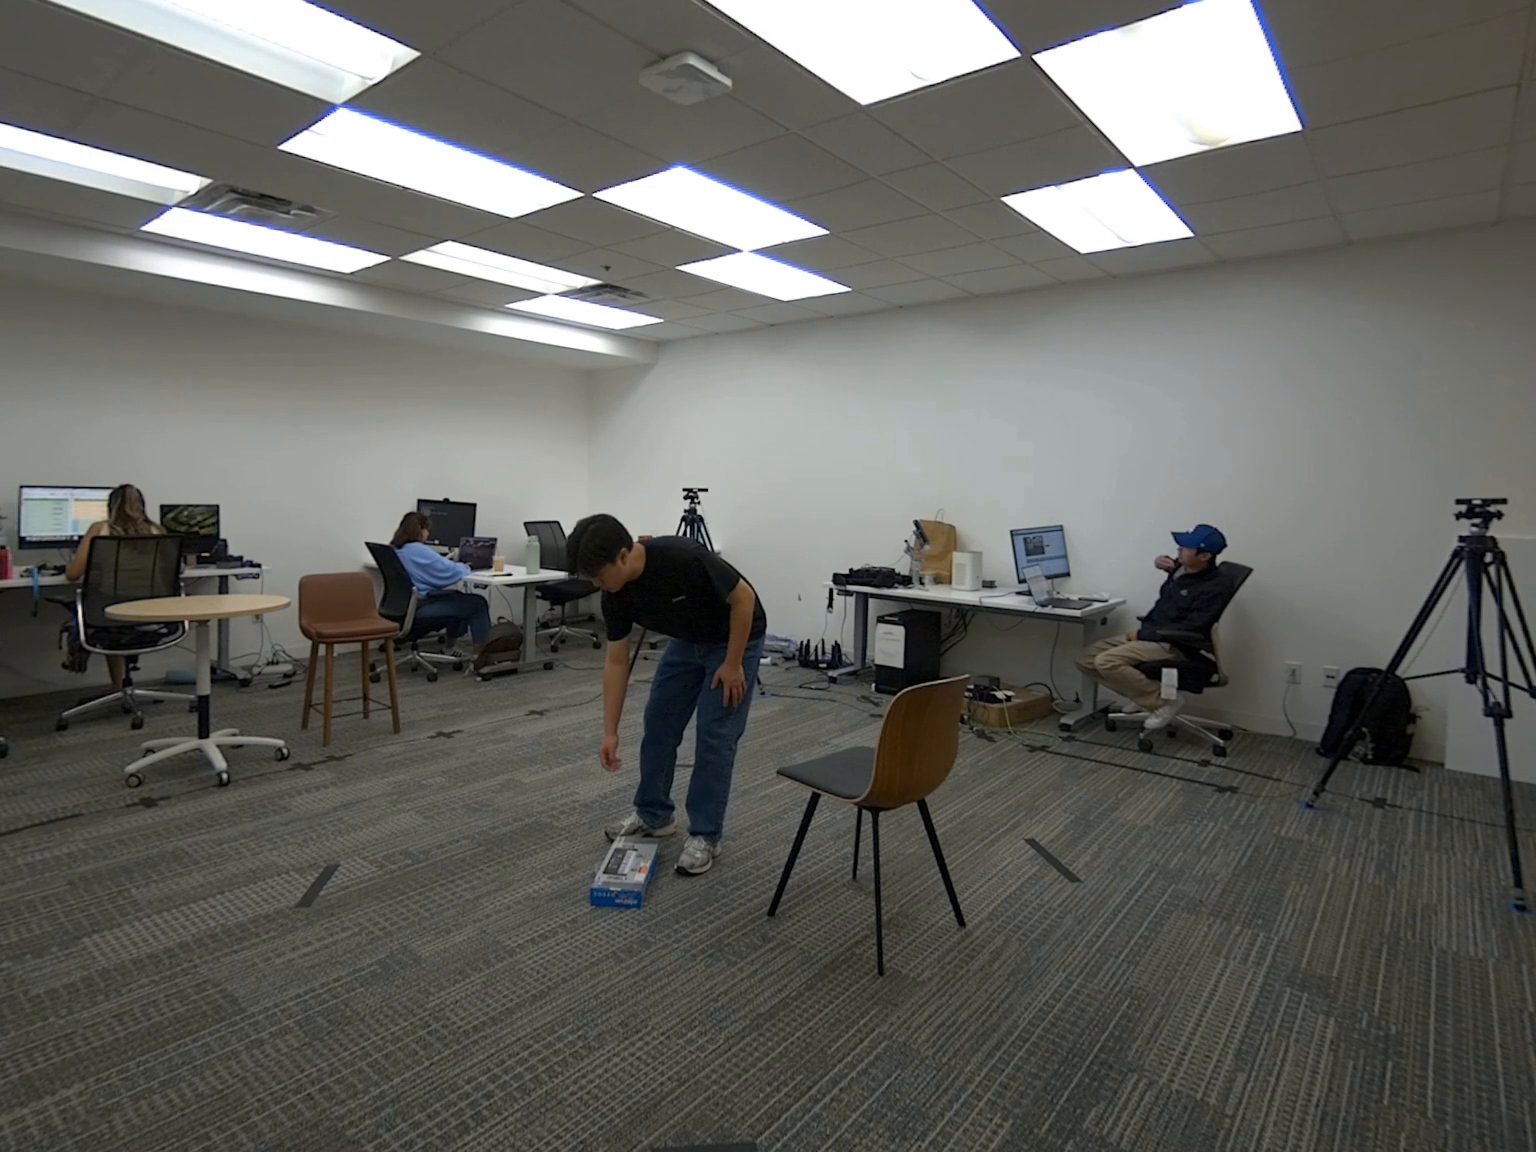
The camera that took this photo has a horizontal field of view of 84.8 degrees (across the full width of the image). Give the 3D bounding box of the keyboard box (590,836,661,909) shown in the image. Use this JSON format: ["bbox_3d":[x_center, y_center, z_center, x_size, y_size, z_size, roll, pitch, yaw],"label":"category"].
[{"bbox_3d":[-0.516,1.048,3.027,0.176,0.059,0.437,2,5,2],"label":"keyboard box"}]
